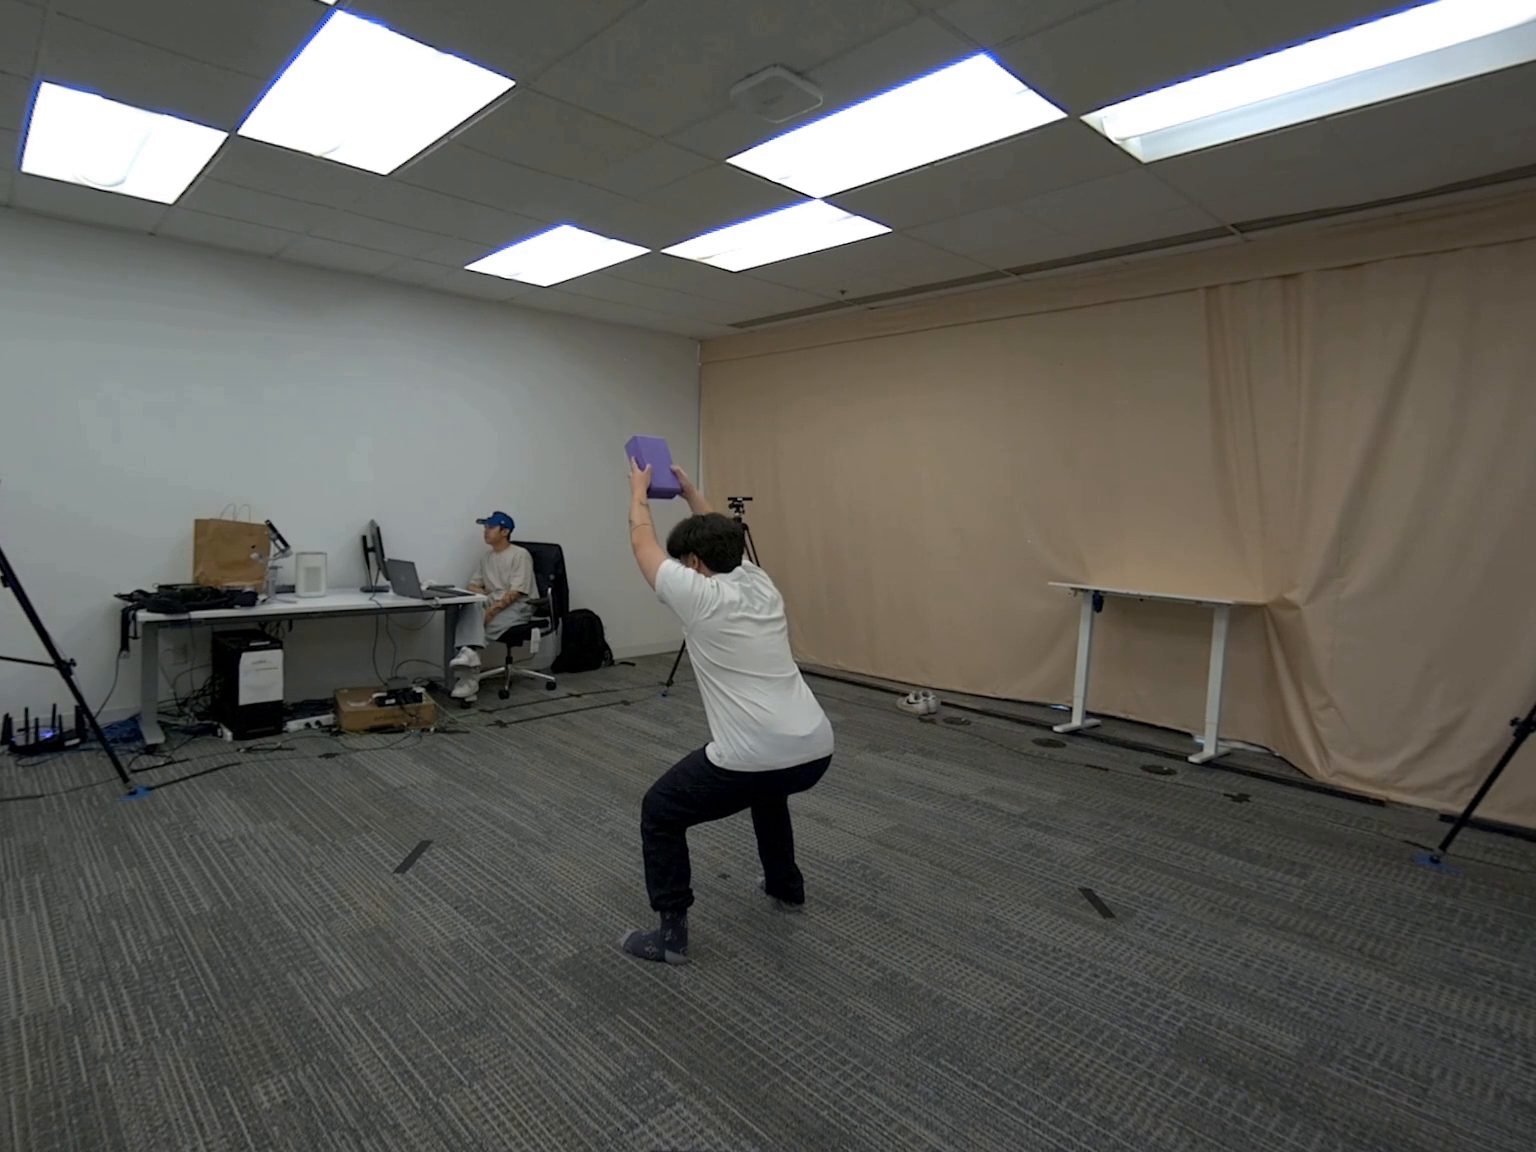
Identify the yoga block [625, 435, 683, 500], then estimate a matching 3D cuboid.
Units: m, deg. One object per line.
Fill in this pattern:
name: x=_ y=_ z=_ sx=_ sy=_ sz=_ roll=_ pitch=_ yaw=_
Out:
yoga block: x=-0.428 y=-0.390 z=3.055 sx=0.145 sy=0.233 sz=0.077 roll=0 pitch=-28 yaw=-45
